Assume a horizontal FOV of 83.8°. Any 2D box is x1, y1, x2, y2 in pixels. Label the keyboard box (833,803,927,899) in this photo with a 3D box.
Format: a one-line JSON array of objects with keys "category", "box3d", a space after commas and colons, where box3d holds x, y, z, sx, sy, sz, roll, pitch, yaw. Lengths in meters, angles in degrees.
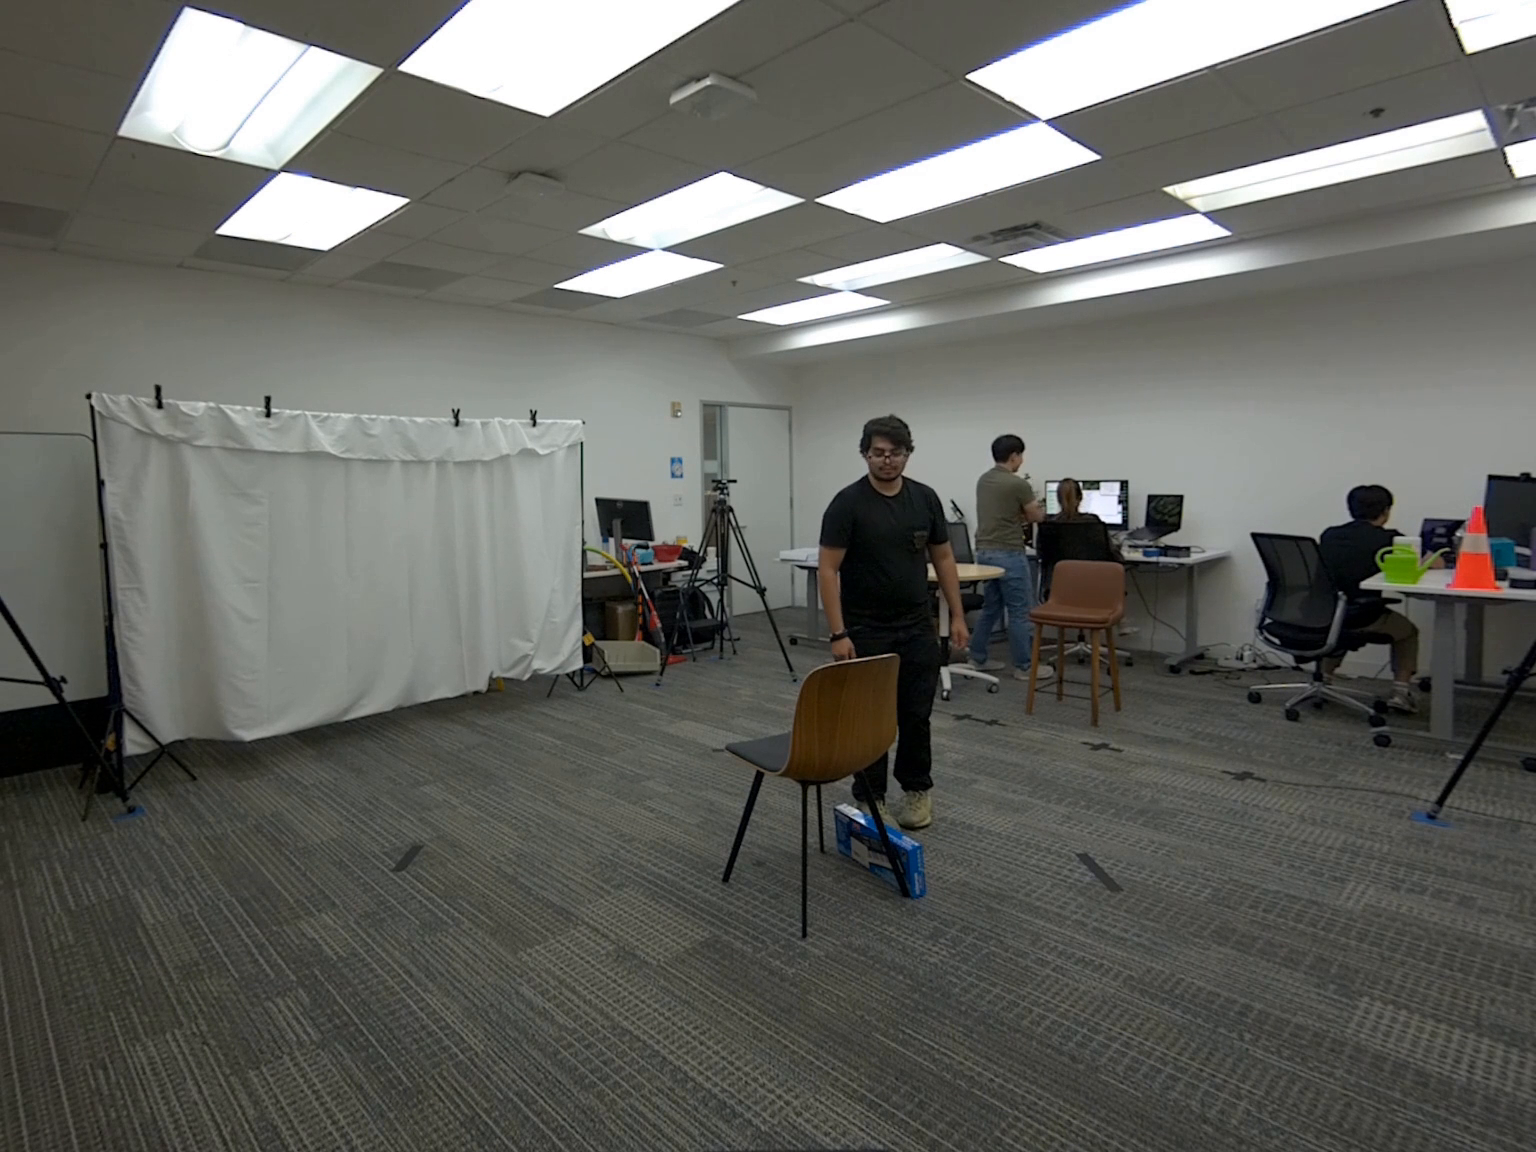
[{"category": "keyboard box", "box3d": [0.392, 0.968, 3.023, 0.058, 0.175, 0.448, -9, 9, -28]}]
